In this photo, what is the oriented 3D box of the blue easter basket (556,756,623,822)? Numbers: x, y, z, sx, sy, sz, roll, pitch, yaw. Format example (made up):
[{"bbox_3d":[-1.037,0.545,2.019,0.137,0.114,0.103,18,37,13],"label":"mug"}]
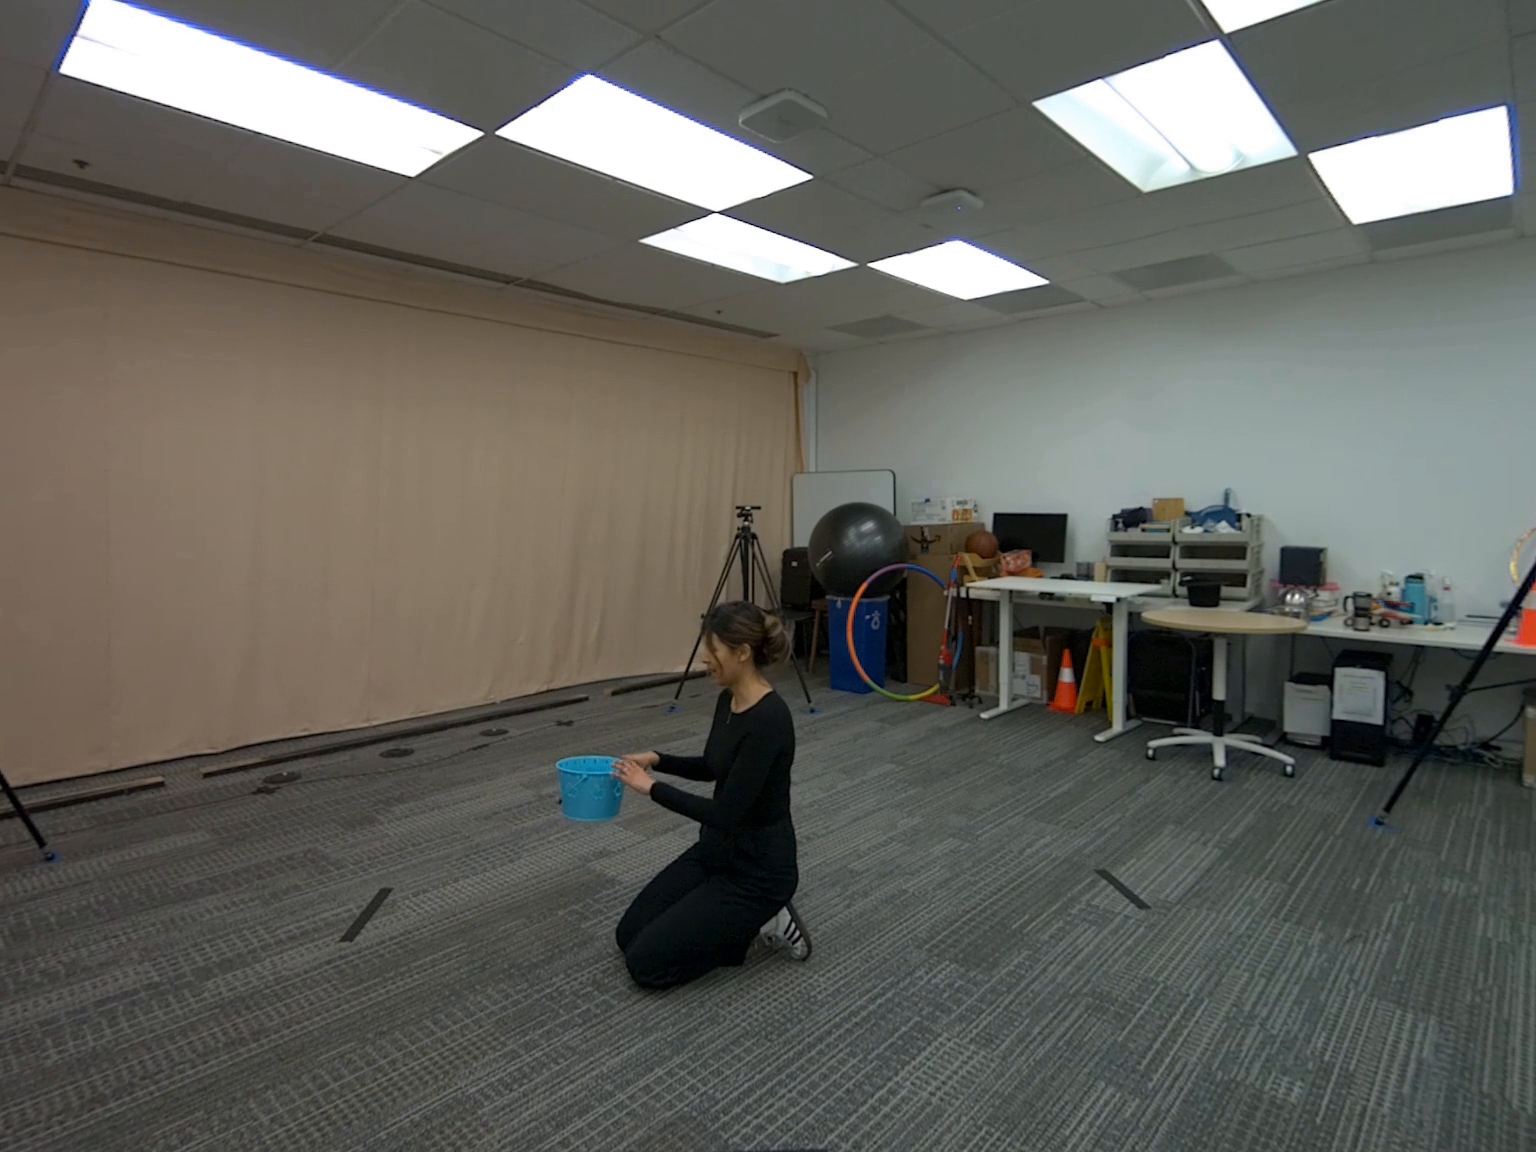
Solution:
[{"bbox_3d":[-0.556,0.679,2.667,0.243,0.156,0.244,2,0,-2],"label":"blue easter basket"}]
